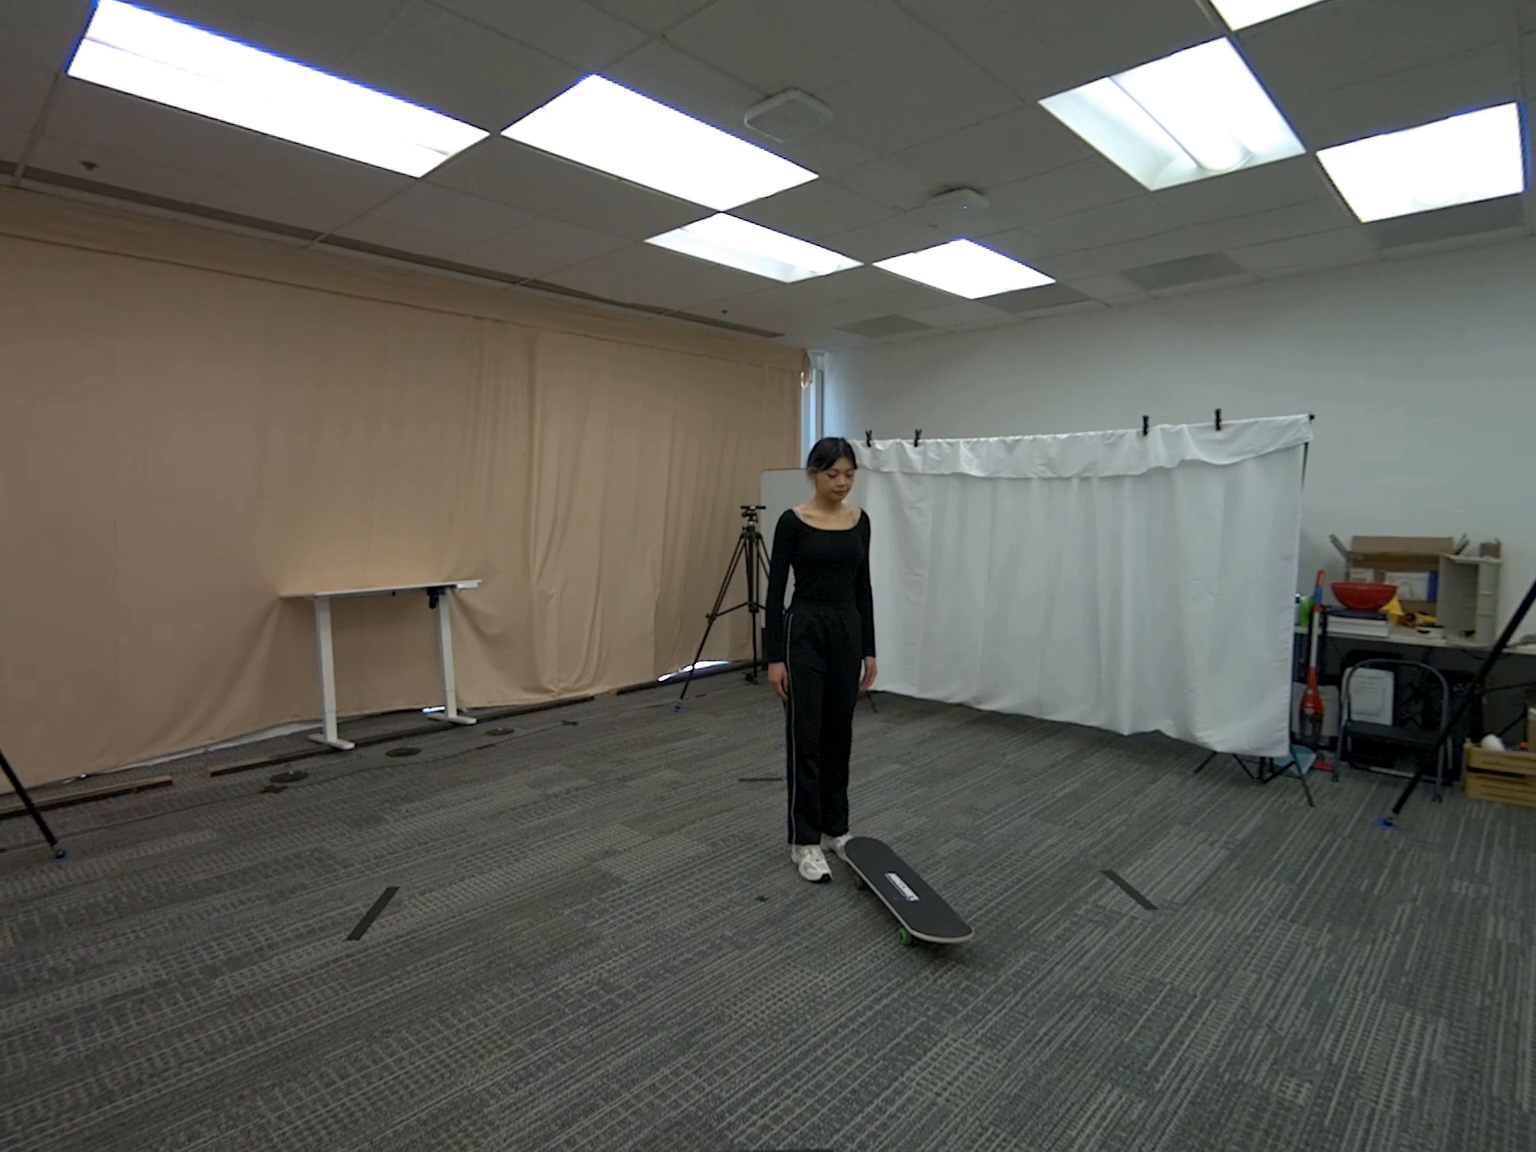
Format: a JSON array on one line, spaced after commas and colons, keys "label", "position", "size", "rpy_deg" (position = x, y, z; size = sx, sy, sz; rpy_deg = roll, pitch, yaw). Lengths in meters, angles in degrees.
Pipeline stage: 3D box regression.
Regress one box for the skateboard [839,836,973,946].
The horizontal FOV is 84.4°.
[{"label": "skateboard", "position": [0.465, 1.096, 2.881], "size": [0.191, 0.110, 0.798], "rpy_deg": [-3, 5, -14]}]
